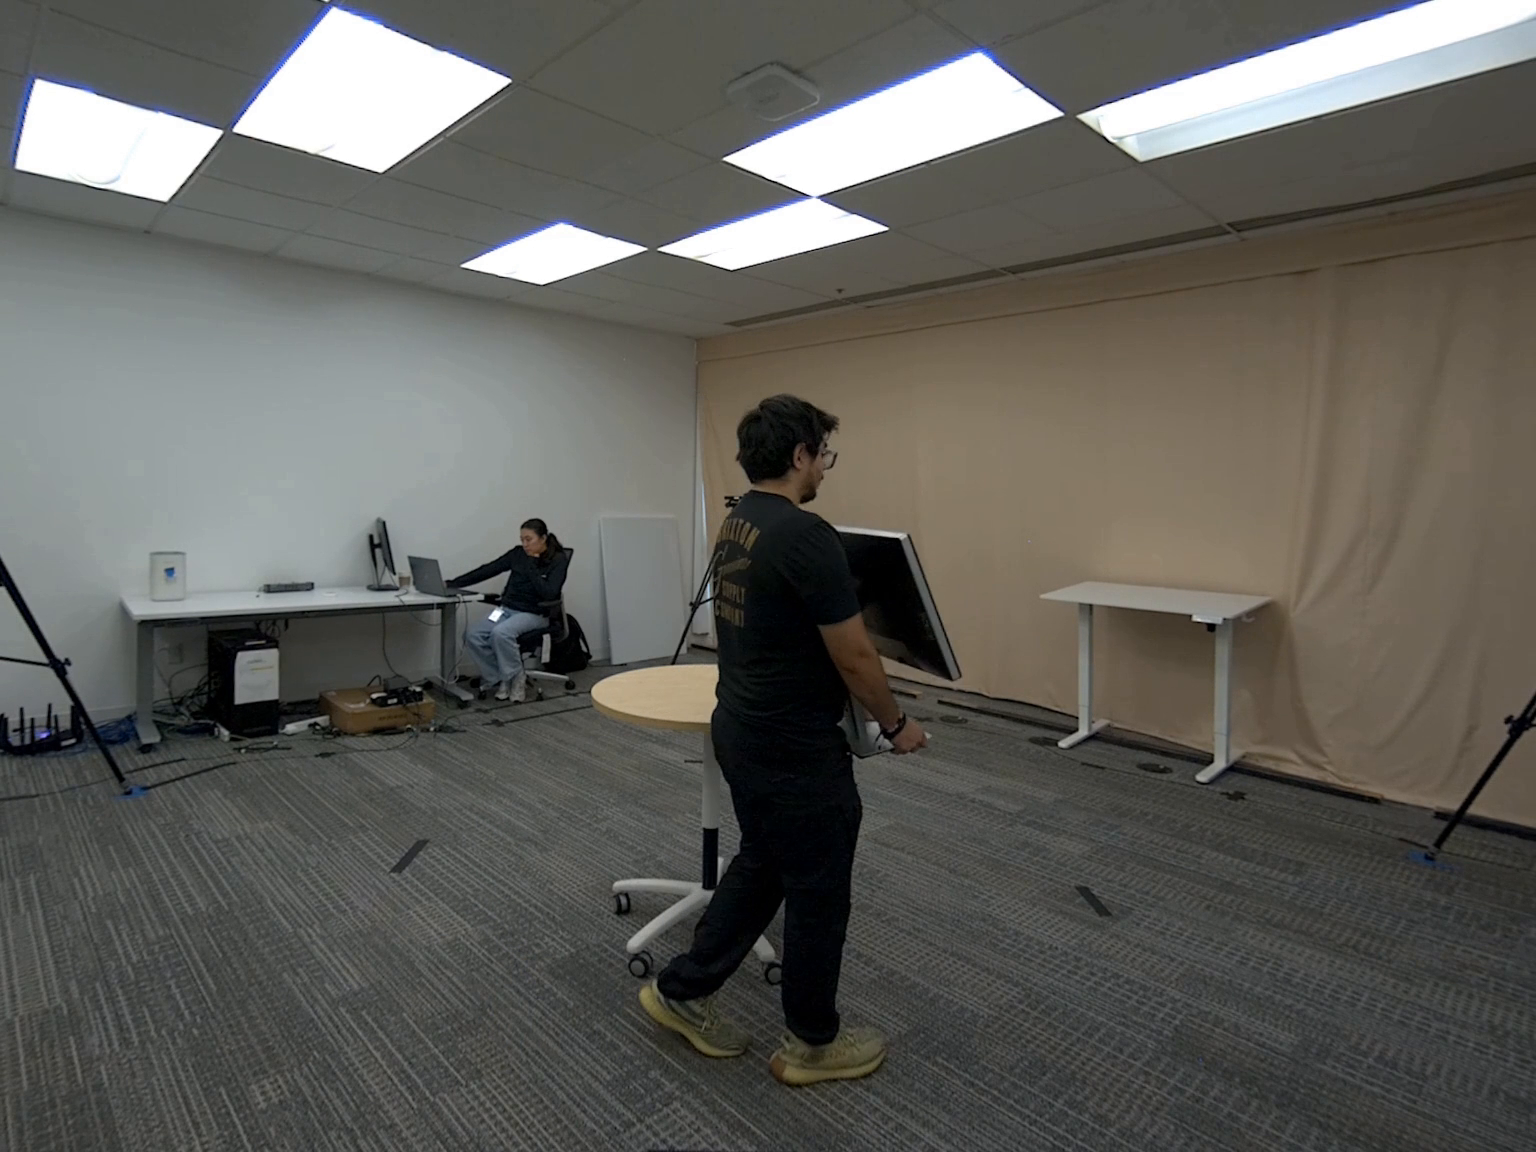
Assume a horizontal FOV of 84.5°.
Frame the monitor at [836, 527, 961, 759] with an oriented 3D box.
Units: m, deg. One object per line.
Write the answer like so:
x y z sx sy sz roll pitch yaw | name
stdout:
0.204 0.150 2.117 0.208 0.547 0.577 -23 14 -21 | monitor
